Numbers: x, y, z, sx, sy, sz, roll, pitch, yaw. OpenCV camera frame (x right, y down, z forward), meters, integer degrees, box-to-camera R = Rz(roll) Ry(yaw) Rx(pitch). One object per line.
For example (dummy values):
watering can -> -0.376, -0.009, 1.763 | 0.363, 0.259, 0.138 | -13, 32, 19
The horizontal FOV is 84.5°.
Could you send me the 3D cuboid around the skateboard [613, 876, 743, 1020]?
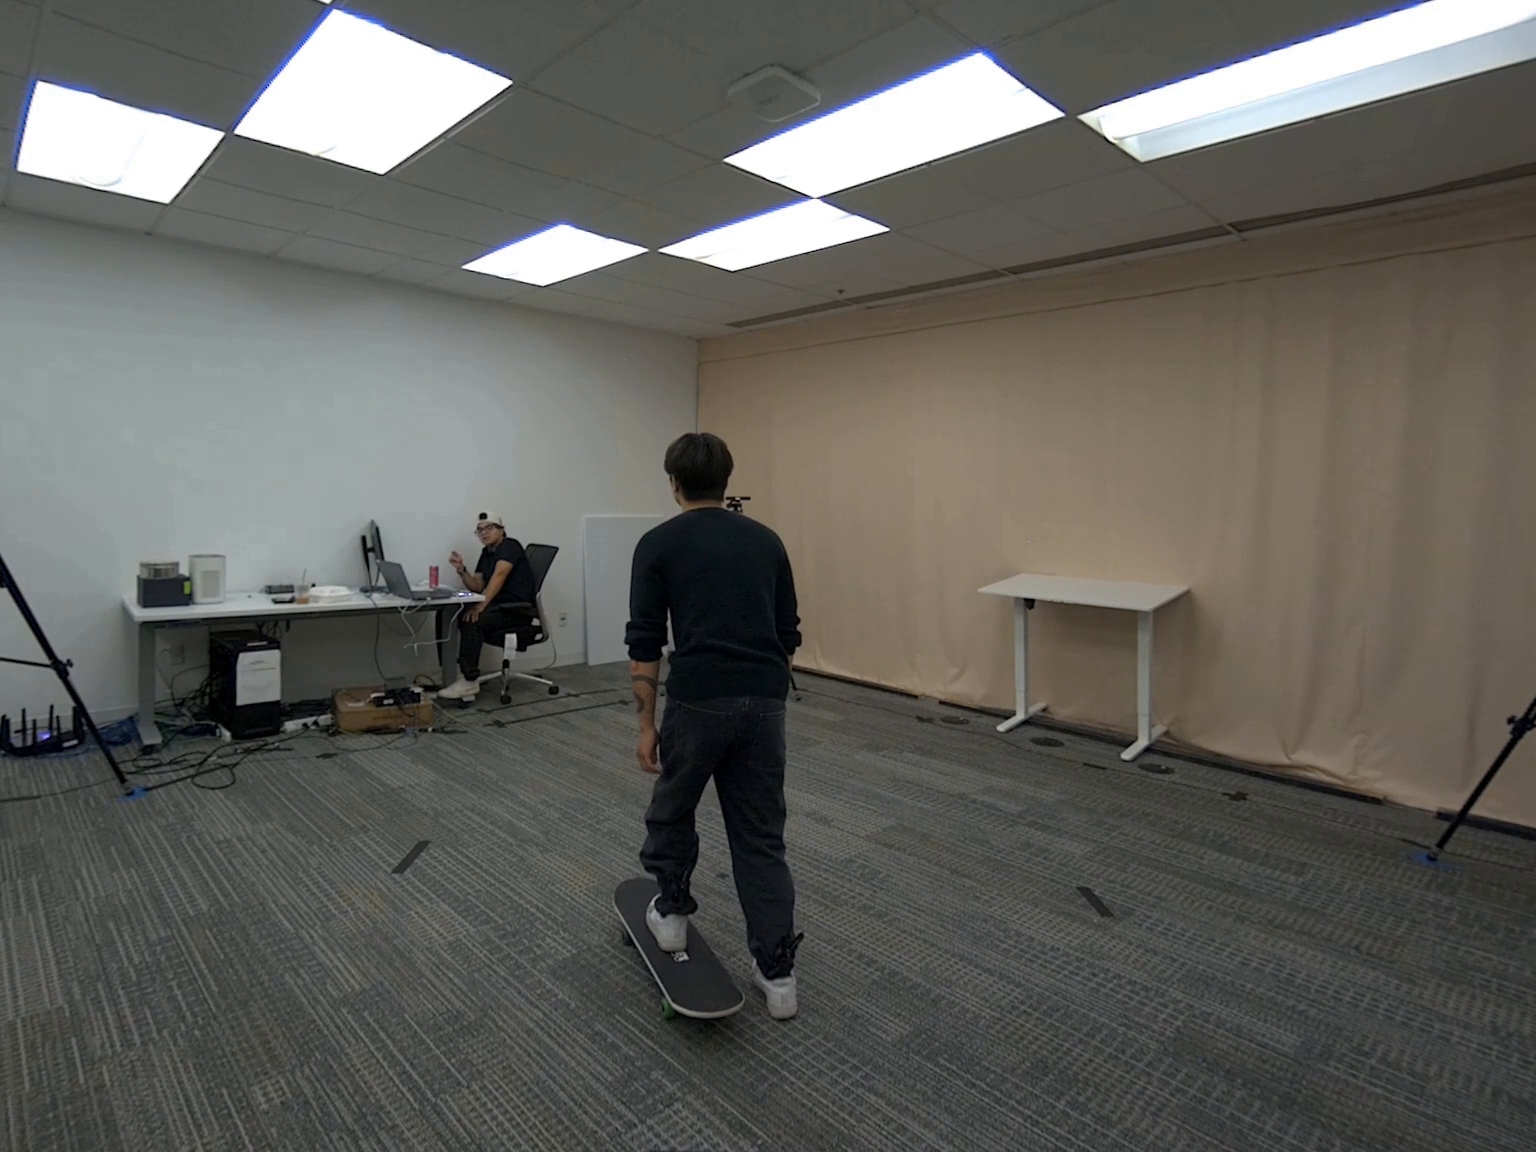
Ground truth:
skateboard -> -0.291, 1.108, 2.463 | 0.190, 0.110, 0.801 | -1, 6, -24
